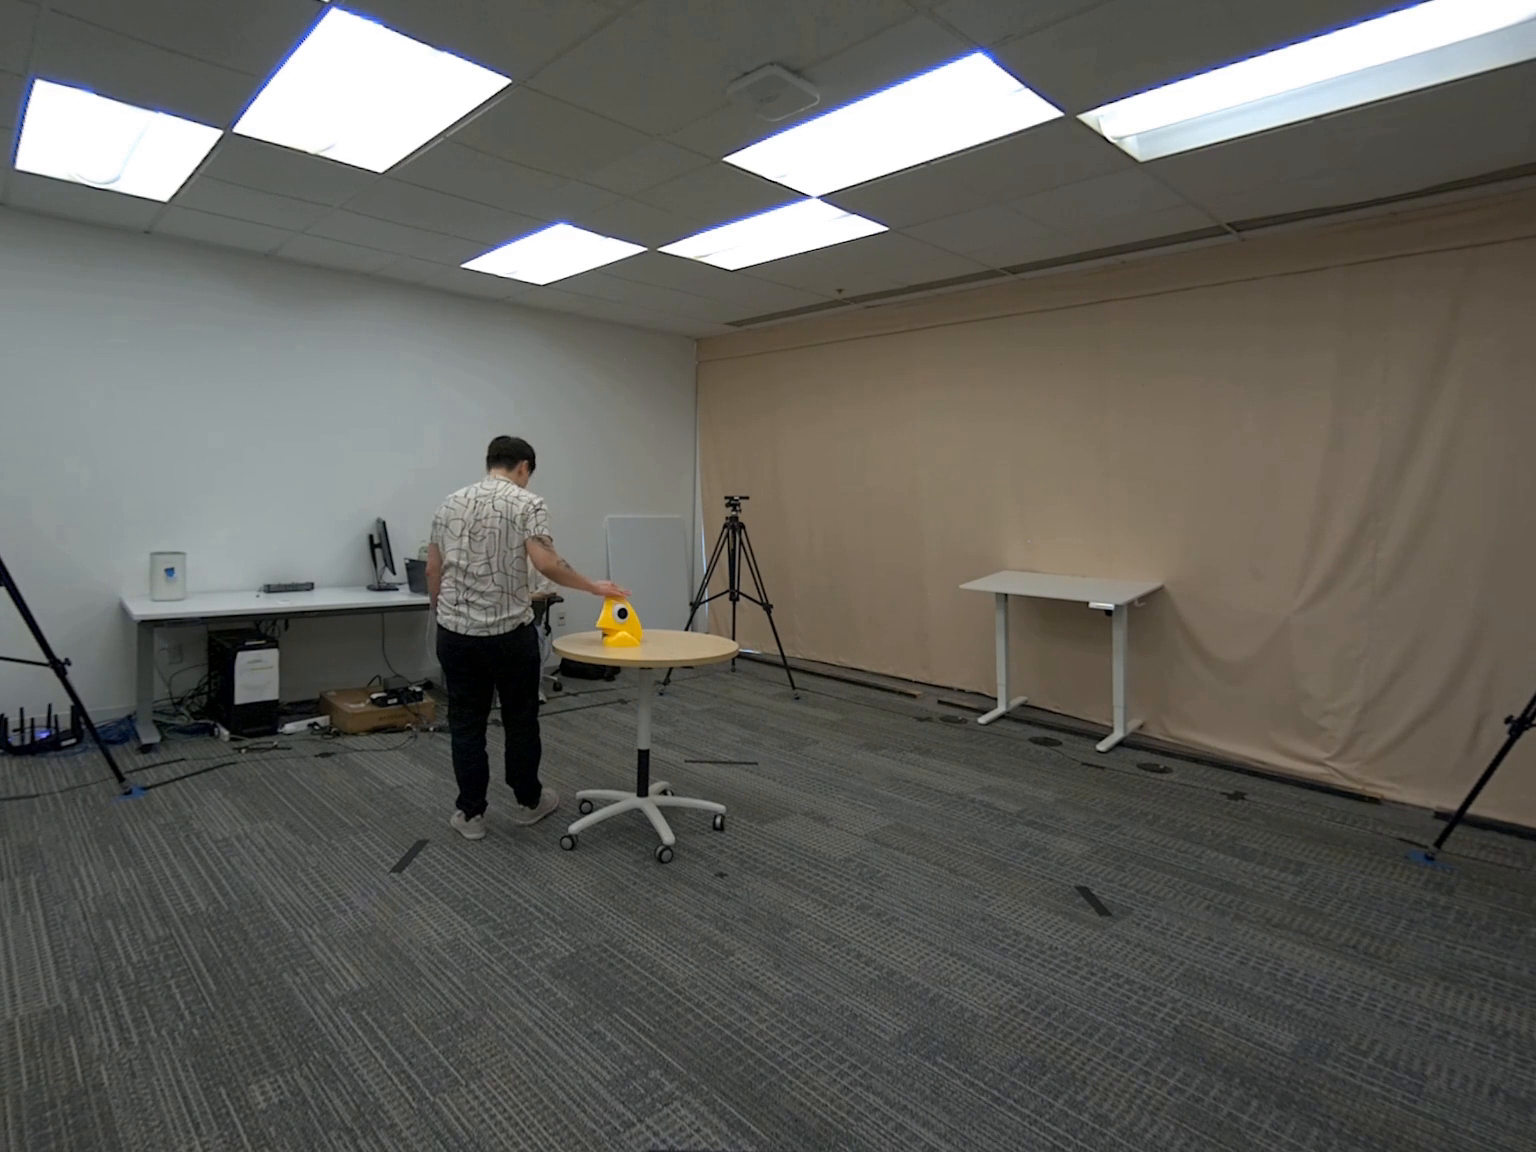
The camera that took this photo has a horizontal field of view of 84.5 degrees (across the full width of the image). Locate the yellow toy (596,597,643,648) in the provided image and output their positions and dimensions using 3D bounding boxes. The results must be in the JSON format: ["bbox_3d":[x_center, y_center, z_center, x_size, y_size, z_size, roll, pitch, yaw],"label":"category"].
[{"bbox_3d":[-0.624,0.161,3.481,0.192,0.230,0.206,1,4,-7],"label":"yellow toy"}]
